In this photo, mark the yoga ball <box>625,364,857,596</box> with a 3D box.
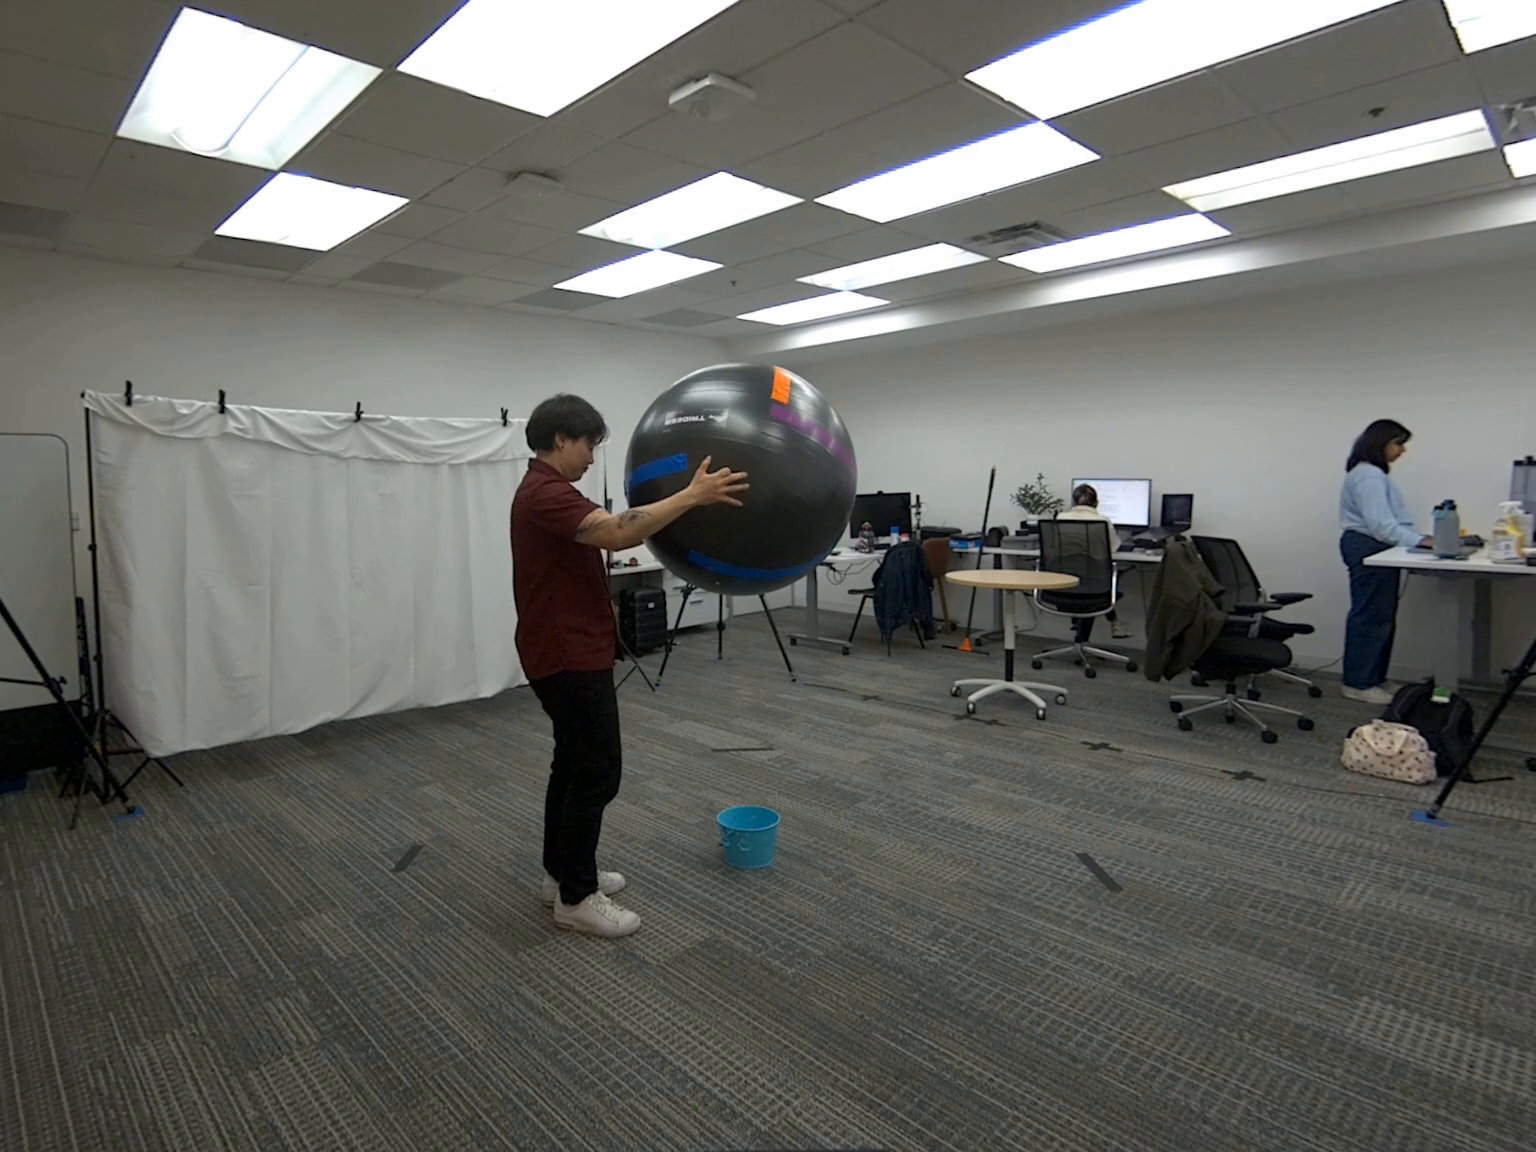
[{"bbox_3d":[-0.088,-0.315,2.792,0.757,0.755,0.762,-1,5,-2],"label":"yoga ball"}]
